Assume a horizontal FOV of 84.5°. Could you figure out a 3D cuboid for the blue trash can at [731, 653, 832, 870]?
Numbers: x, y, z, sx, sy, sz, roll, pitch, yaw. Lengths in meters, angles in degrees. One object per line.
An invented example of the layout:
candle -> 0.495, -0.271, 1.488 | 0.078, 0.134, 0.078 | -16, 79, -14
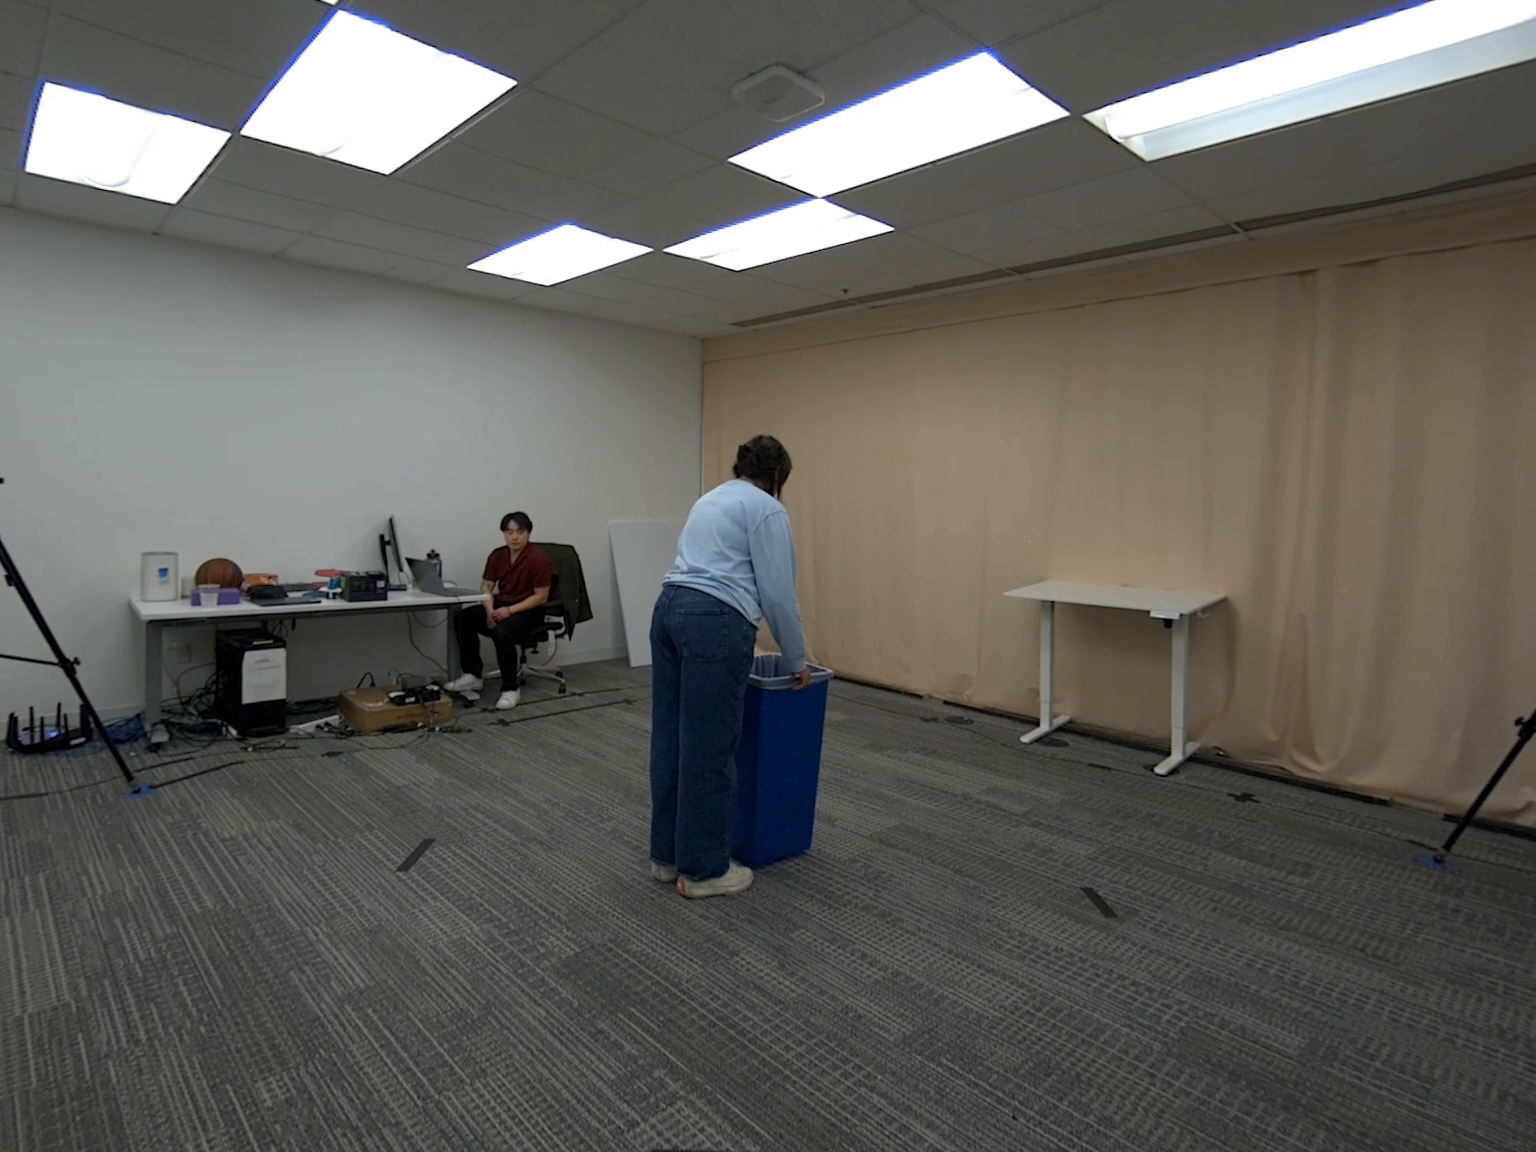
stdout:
blue trash can -> -0.015, 0.700, 3.308 | 0.369, 0.711, 0.384 | 0, 5, -40
